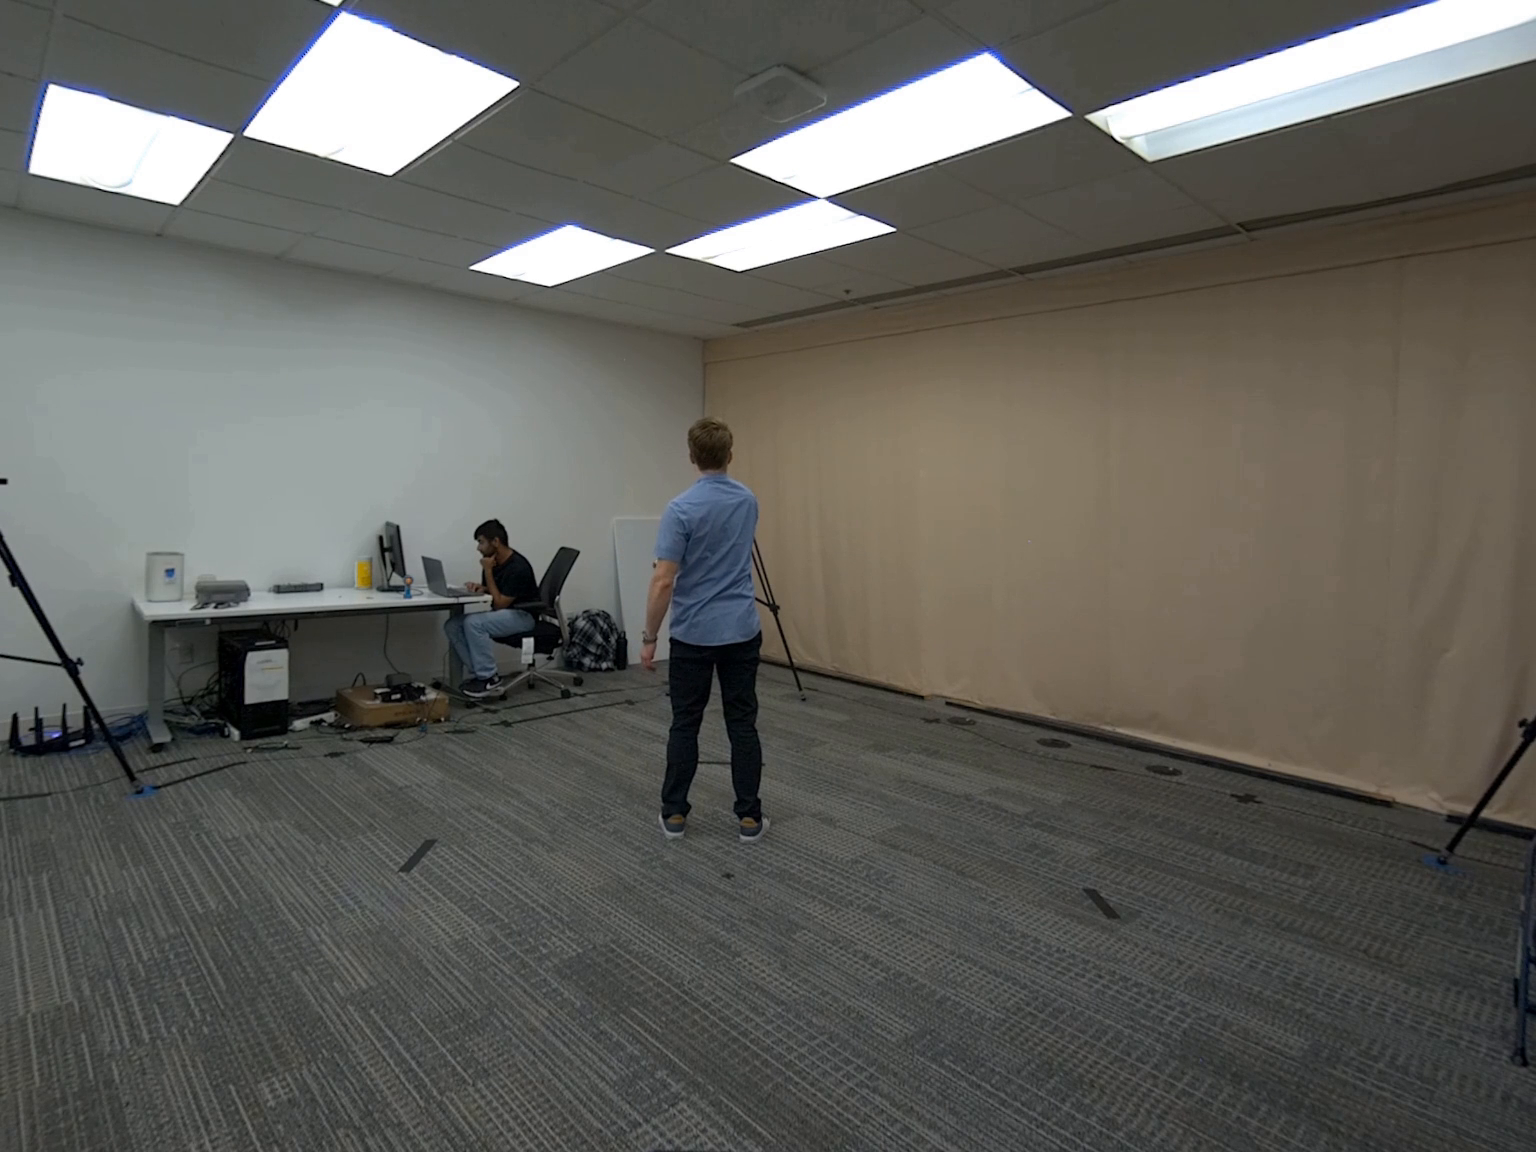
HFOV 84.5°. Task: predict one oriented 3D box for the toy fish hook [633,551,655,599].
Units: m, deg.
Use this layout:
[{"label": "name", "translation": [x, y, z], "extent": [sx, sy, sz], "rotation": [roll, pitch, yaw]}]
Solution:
[{"label": "toy fish hook", "translation": [-0.486, -0.048, 4.091], "extent": [0.049, 0.224, 0.504], "rotation": [31, 15, 7]}]
